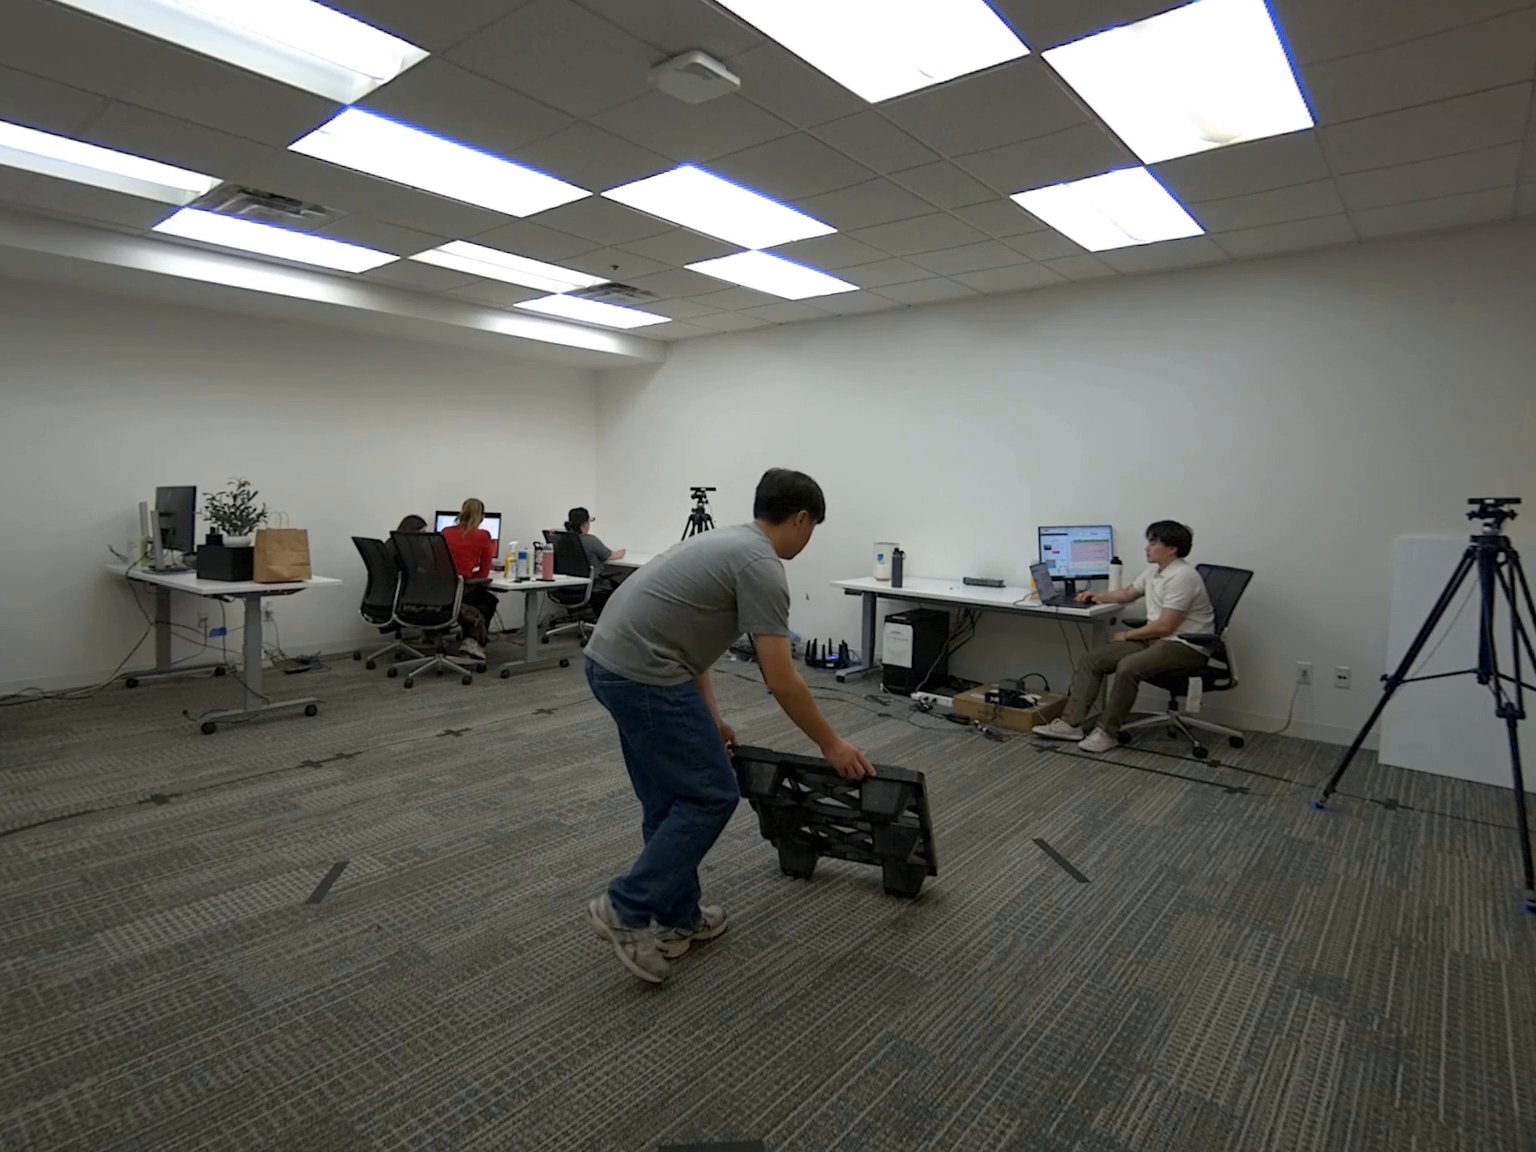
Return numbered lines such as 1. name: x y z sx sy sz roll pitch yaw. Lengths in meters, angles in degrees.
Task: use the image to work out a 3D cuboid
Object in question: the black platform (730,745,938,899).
1. black platform: 0.210 0.816 2.766 0.618 0.146 0.776 4 -38 18
